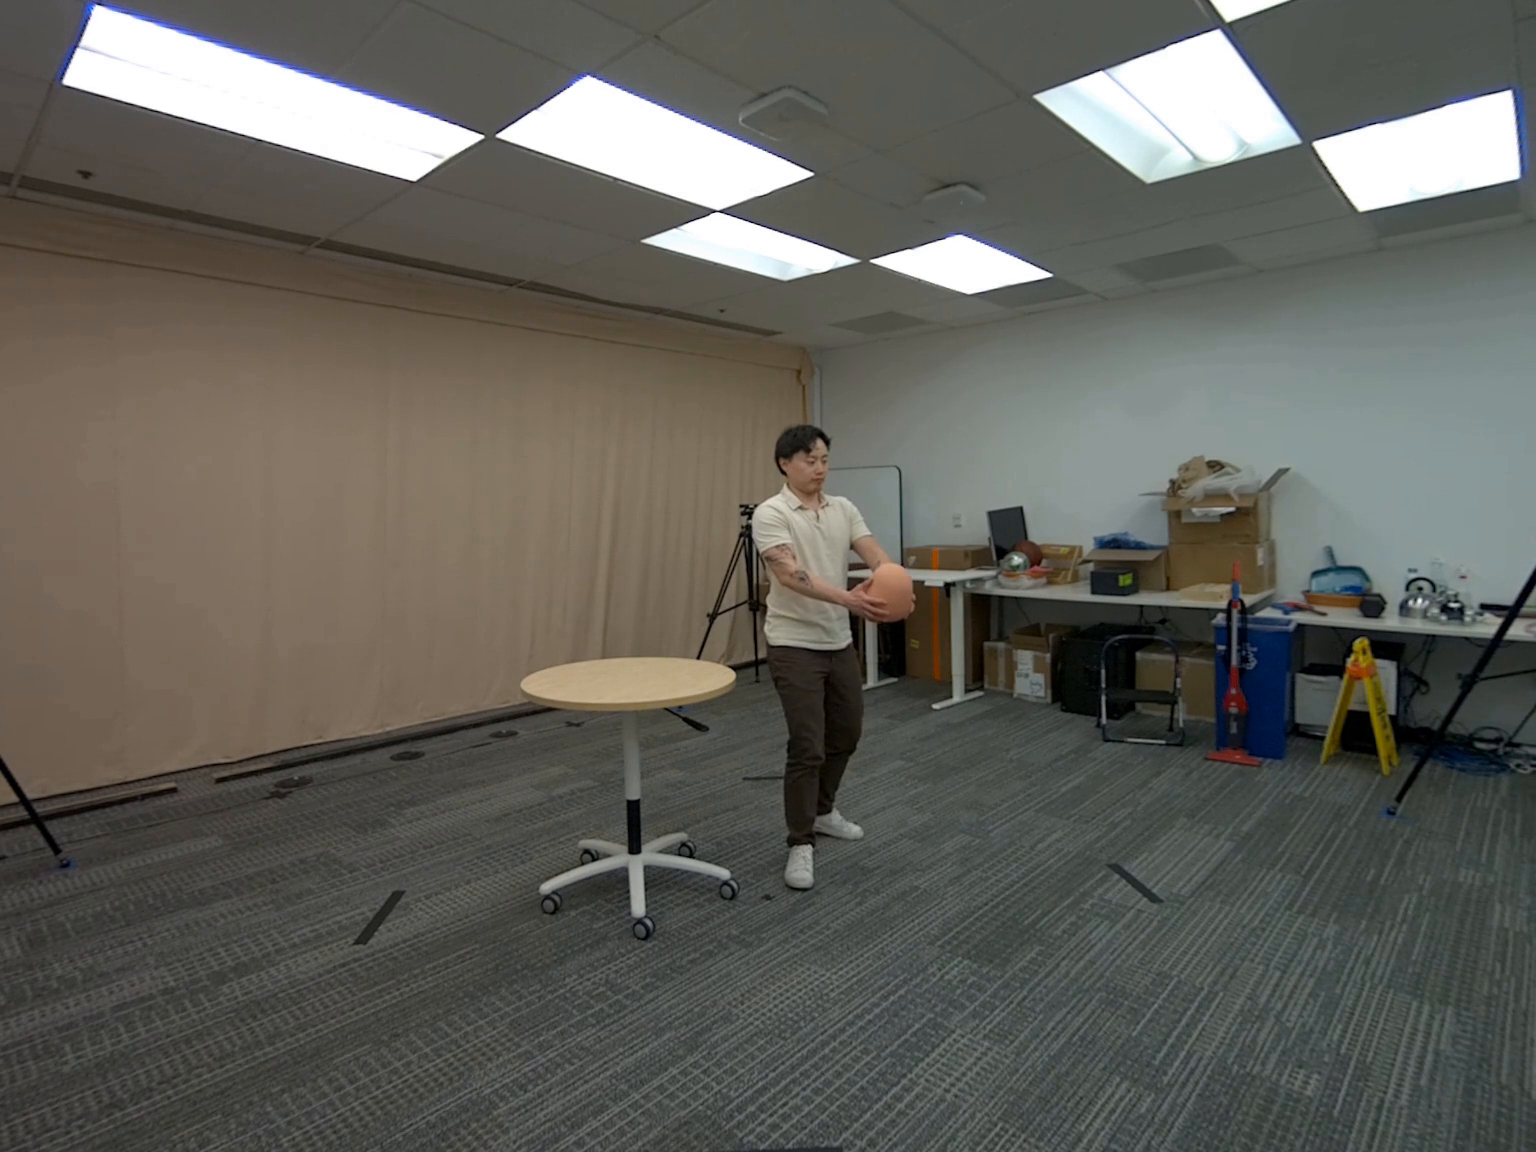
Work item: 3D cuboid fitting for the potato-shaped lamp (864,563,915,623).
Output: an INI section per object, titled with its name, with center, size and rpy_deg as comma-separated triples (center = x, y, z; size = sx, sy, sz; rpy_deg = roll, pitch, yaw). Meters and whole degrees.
[potato-shaped lamp]
center = 0.418, 0.055, 2.914
size = 0.161, 0.196, 0.177
rpy_deg = -5, 20, -27
